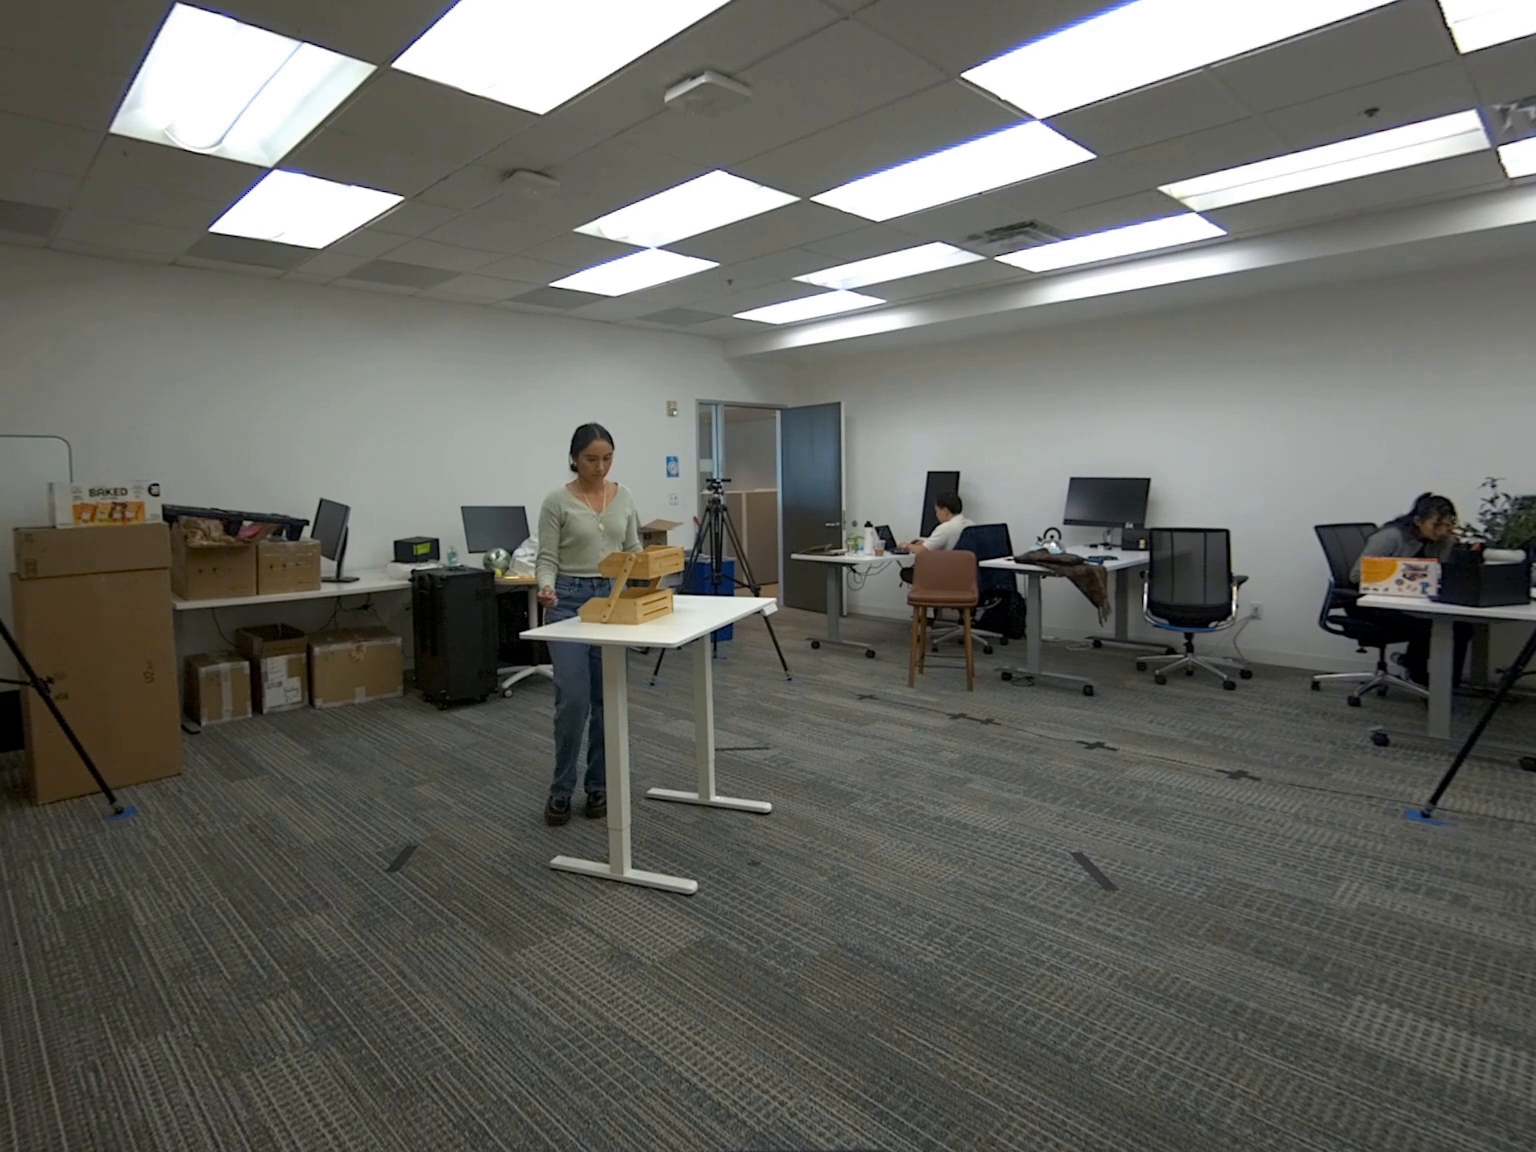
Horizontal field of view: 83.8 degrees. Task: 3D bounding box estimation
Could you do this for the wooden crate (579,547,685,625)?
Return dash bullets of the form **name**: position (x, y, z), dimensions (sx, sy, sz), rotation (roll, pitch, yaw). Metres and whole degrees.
- **wooden crate**: position (-0.517, 0.025, 3.225), dimensions (0.308, 0.272, 0.320), rotation (1, 6, 20)
